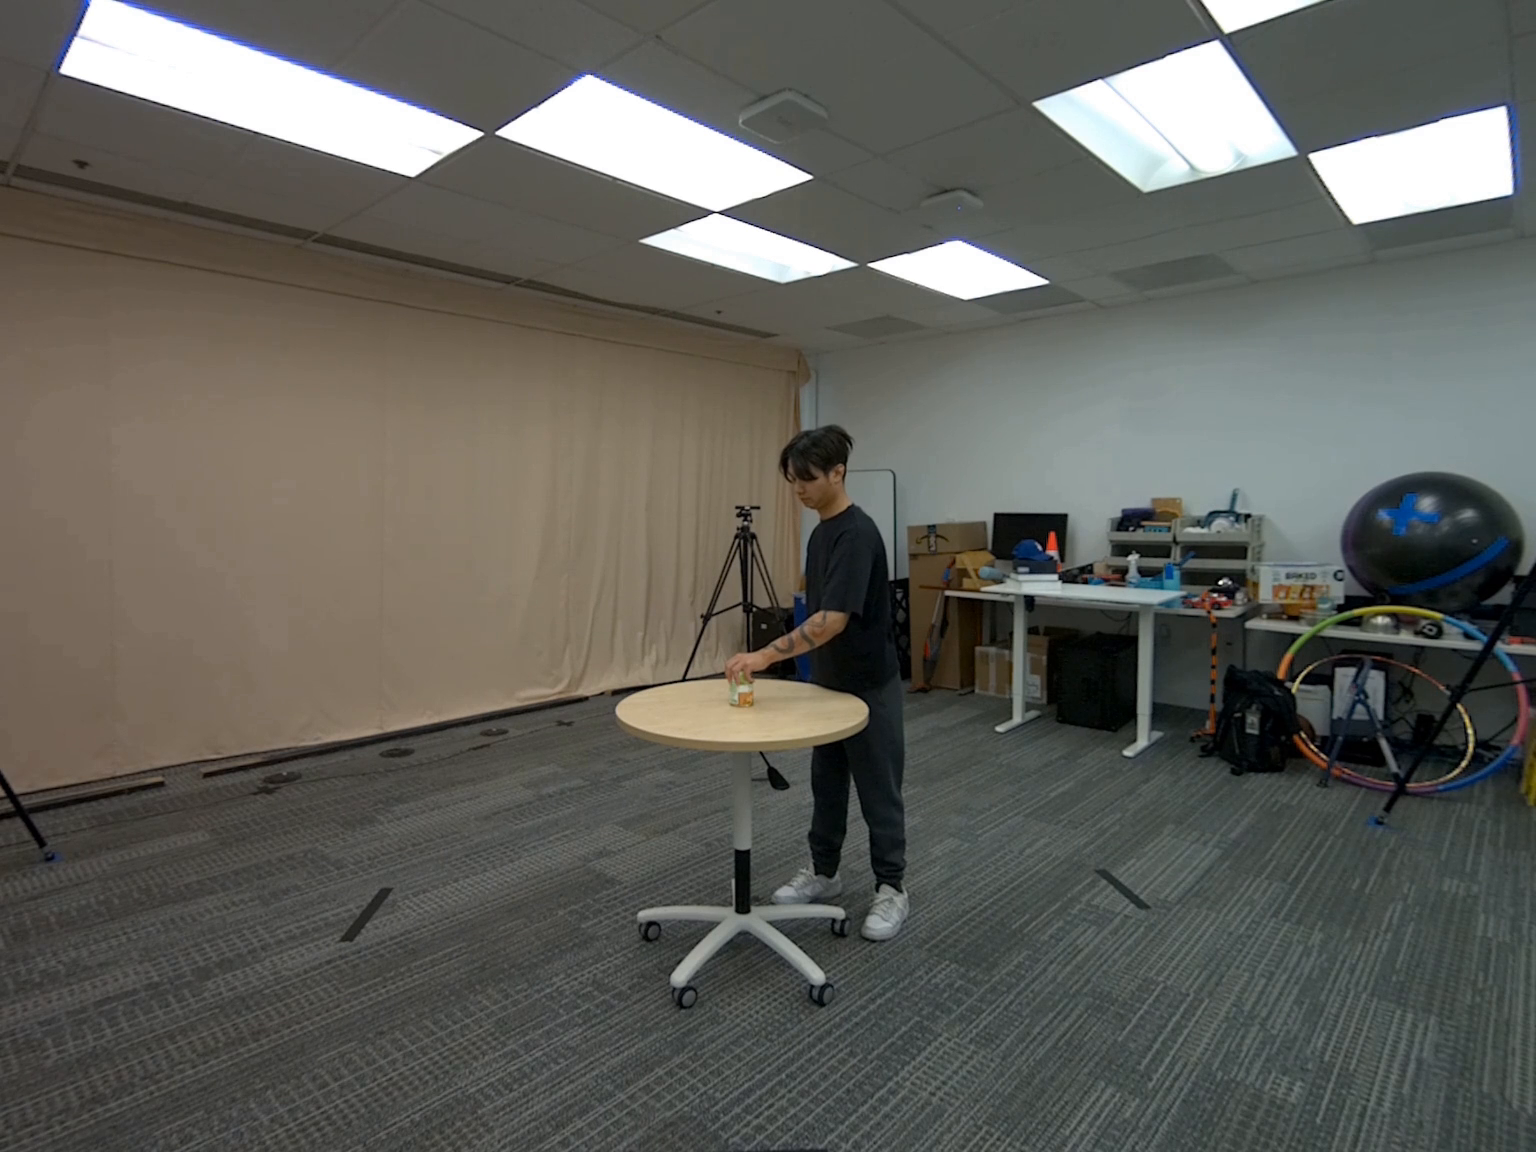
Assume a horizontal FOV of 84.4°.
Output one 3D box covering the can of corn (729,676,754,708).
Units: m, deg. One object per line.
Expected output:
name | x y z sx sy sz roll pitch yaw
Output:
can of corn | -0.081 0.341 2.579 0.074 0.111 0.074 -2 4 -2
